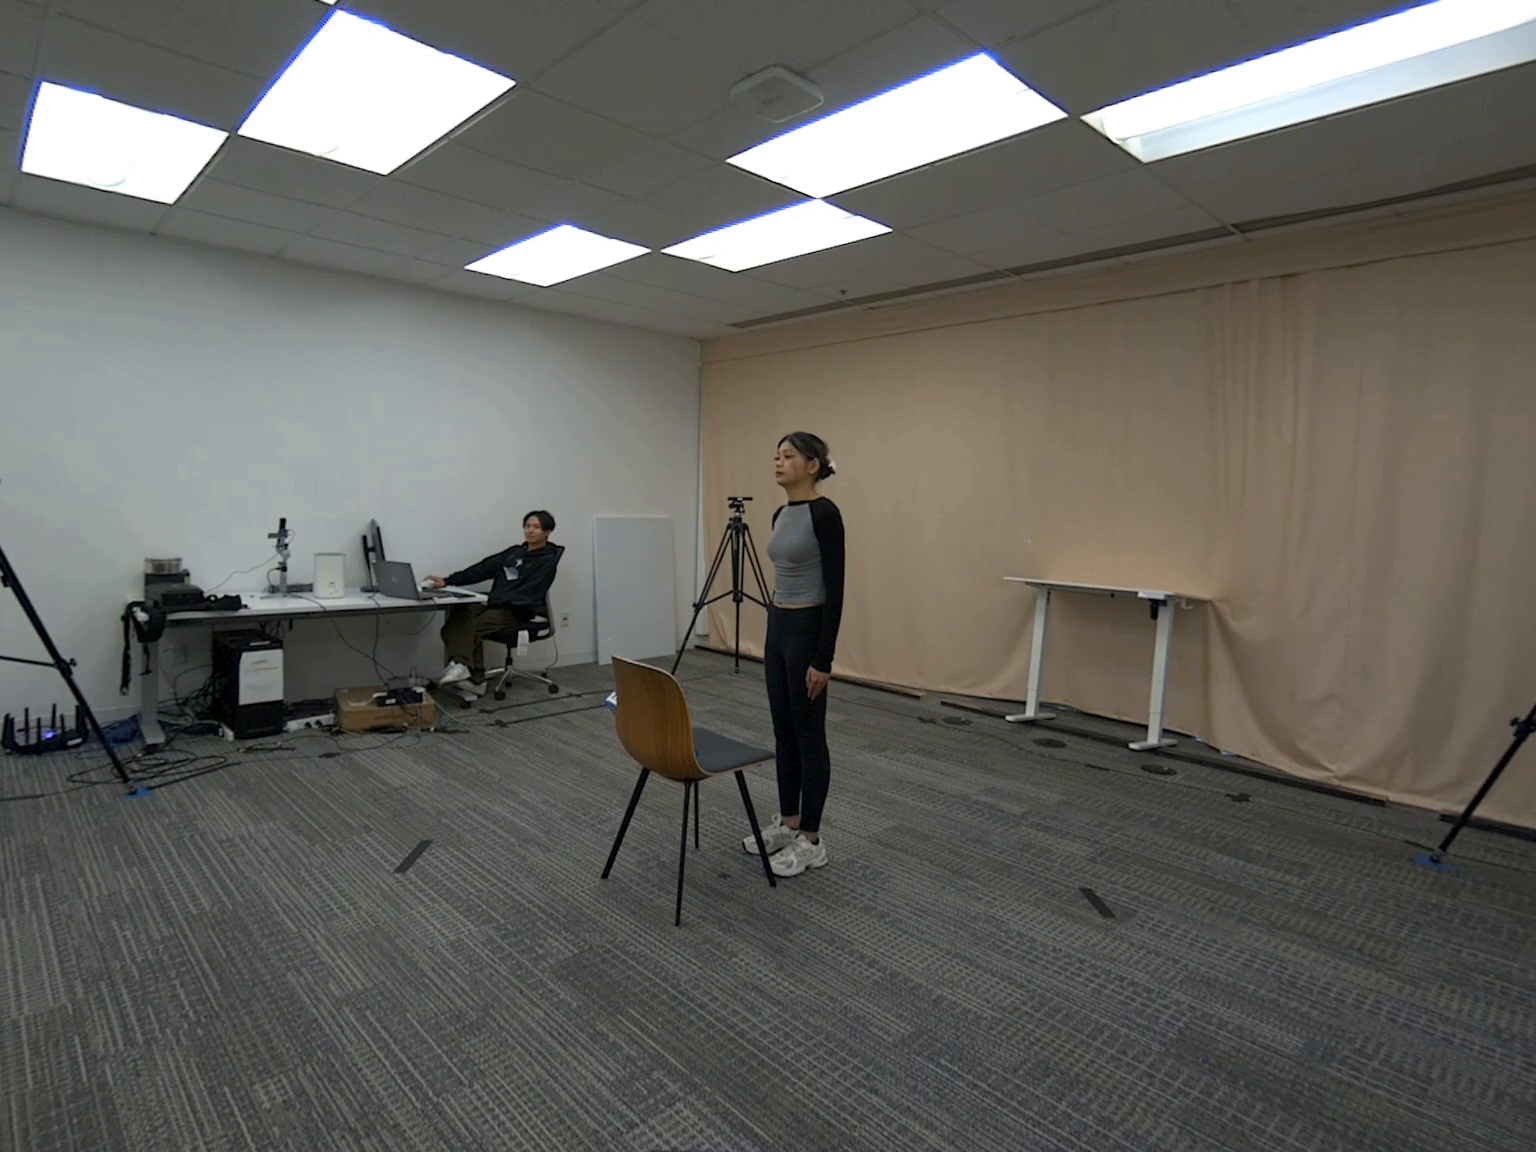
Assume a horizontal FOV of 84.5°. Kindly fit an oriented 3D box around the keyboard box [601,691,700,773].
[{"bbox_3d":[-0.428,0.549,3.019,0.059,0.171,0.448,-43,31,-23],"label":"keyboard box"}]
